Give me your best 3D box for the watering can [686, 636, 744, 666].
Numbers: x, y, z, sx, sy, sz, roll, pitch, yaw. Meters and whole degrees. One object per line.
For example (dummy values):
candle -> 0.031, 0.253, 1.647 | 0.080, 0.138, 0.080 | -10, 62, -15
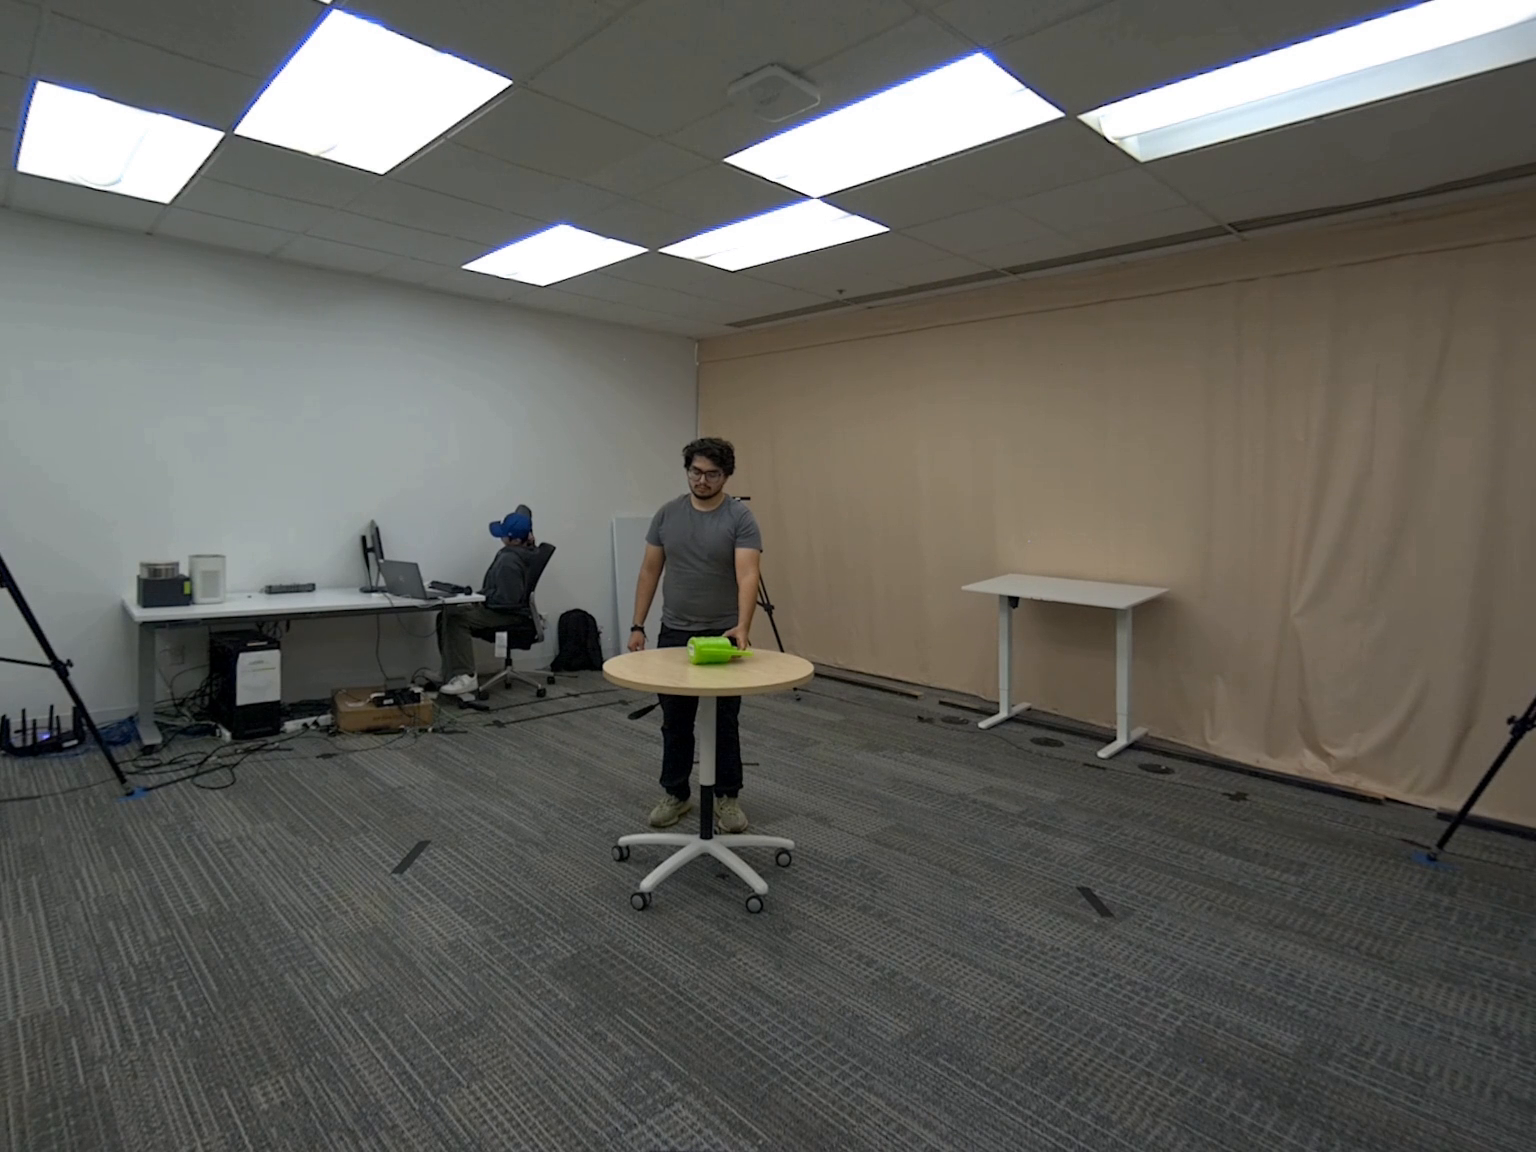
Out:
watering can -> -0.198, 0.266, 3.070 | 0.174, 0.099, 0.279 | 0, -12, -20
